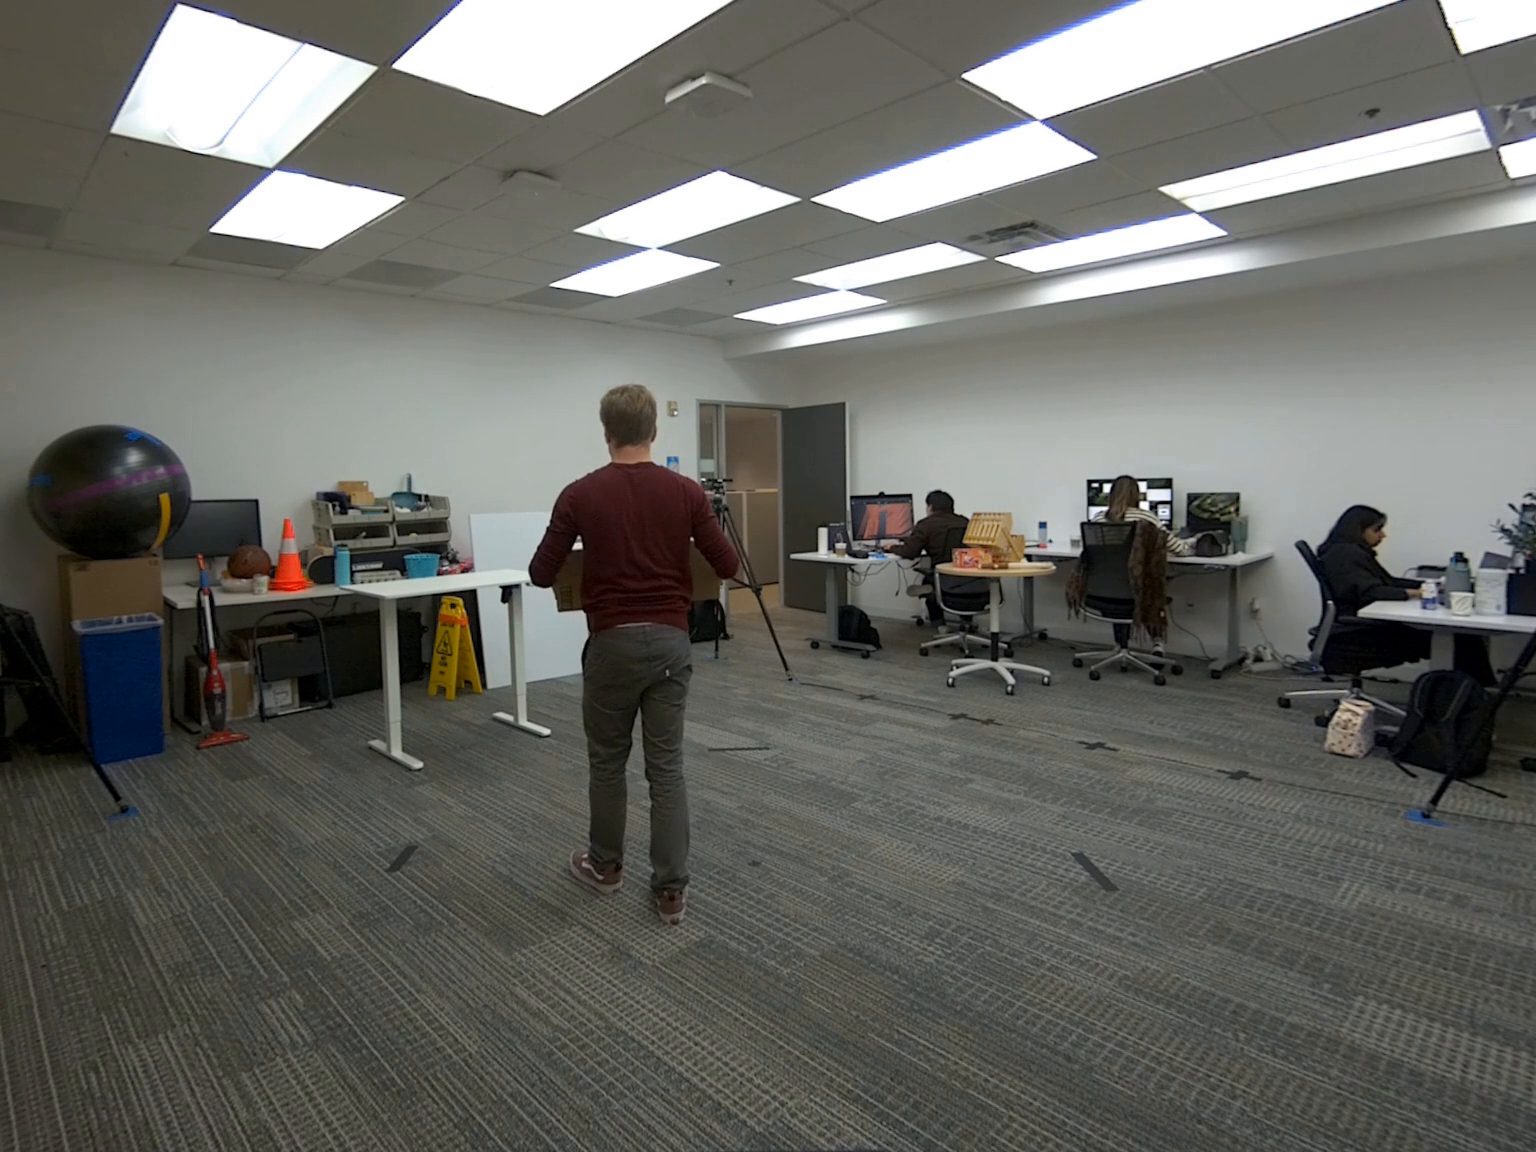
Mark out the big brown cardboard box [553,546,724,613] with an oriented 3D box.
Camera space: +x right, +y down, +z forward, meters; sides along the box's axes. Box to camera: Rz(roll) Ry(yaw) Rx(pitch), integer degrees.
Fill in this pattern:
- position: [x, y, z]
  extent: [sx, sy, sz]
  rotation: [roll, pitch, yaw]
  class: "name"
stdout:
- position: [-0.487, -0.041, 3.155]
  extent: [0.585, 0.231, 0.423]
  rotation: [-3, 9, -7]
  class: "big brown cardboard box"
